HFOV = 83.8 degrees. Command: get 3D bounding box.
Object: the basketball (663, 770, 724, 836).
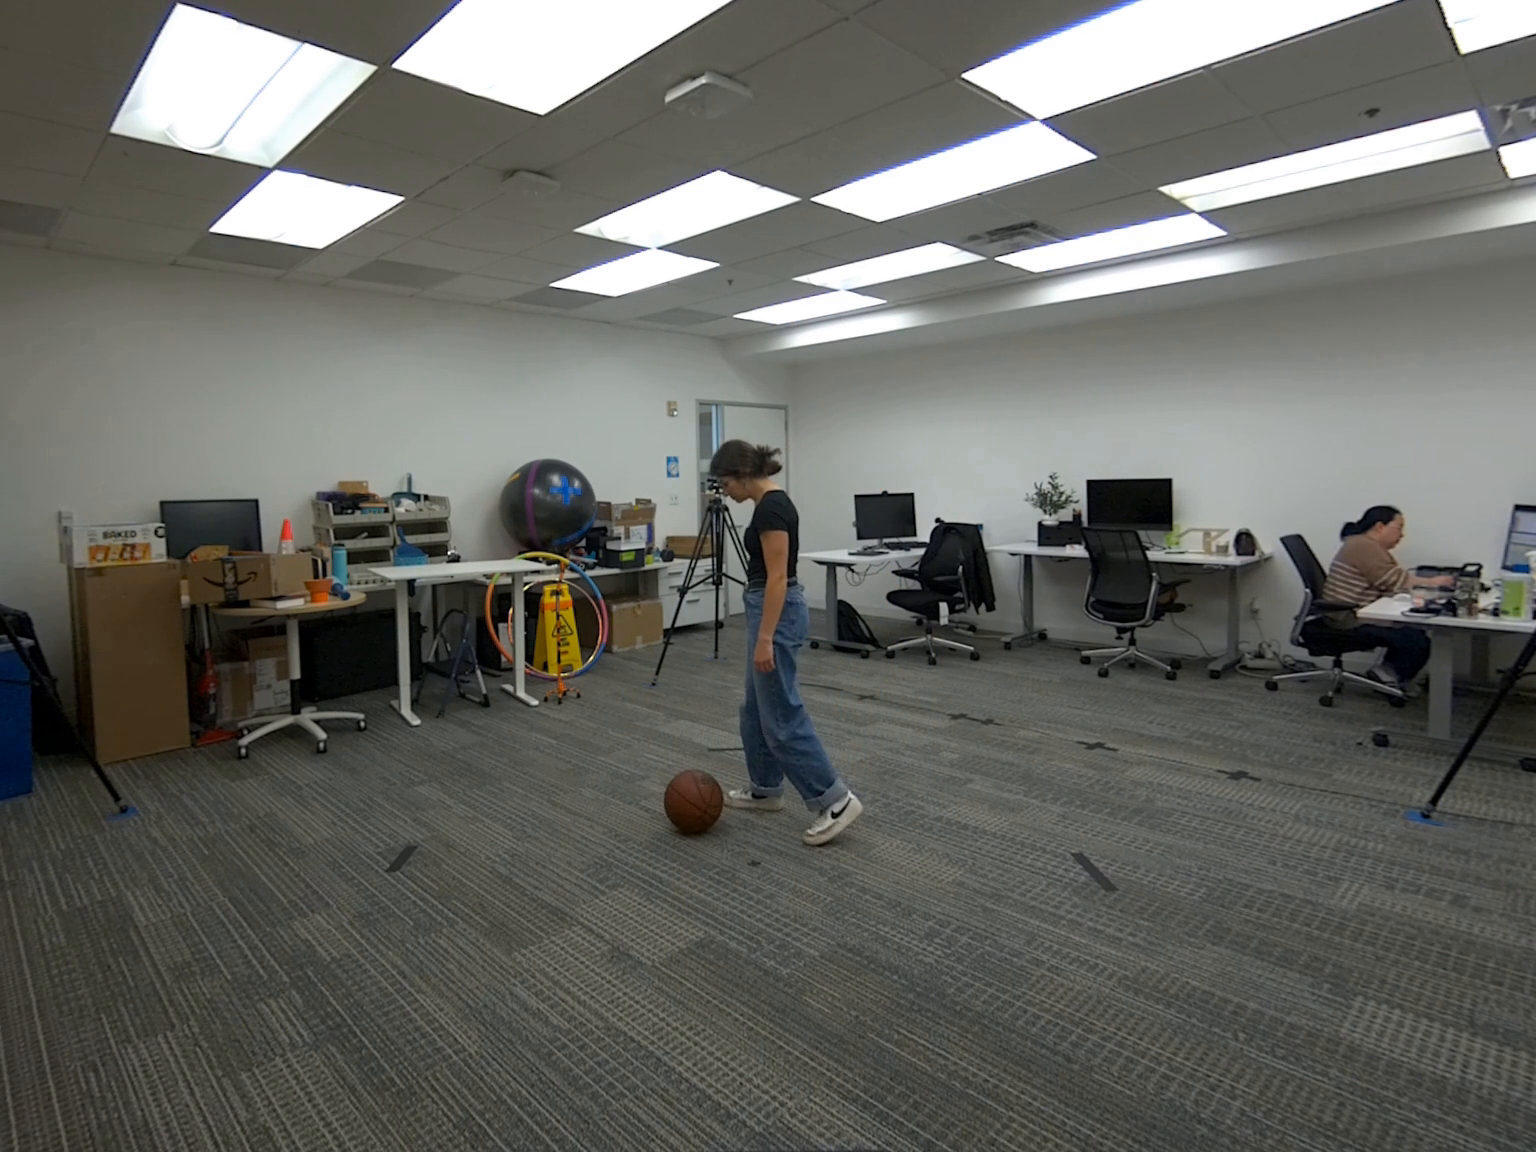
[{"bbox_3d":[-0.295,0.893,3.403,0.236,0.235,0.237,-1,5,-2],"label":"basketball"}]
